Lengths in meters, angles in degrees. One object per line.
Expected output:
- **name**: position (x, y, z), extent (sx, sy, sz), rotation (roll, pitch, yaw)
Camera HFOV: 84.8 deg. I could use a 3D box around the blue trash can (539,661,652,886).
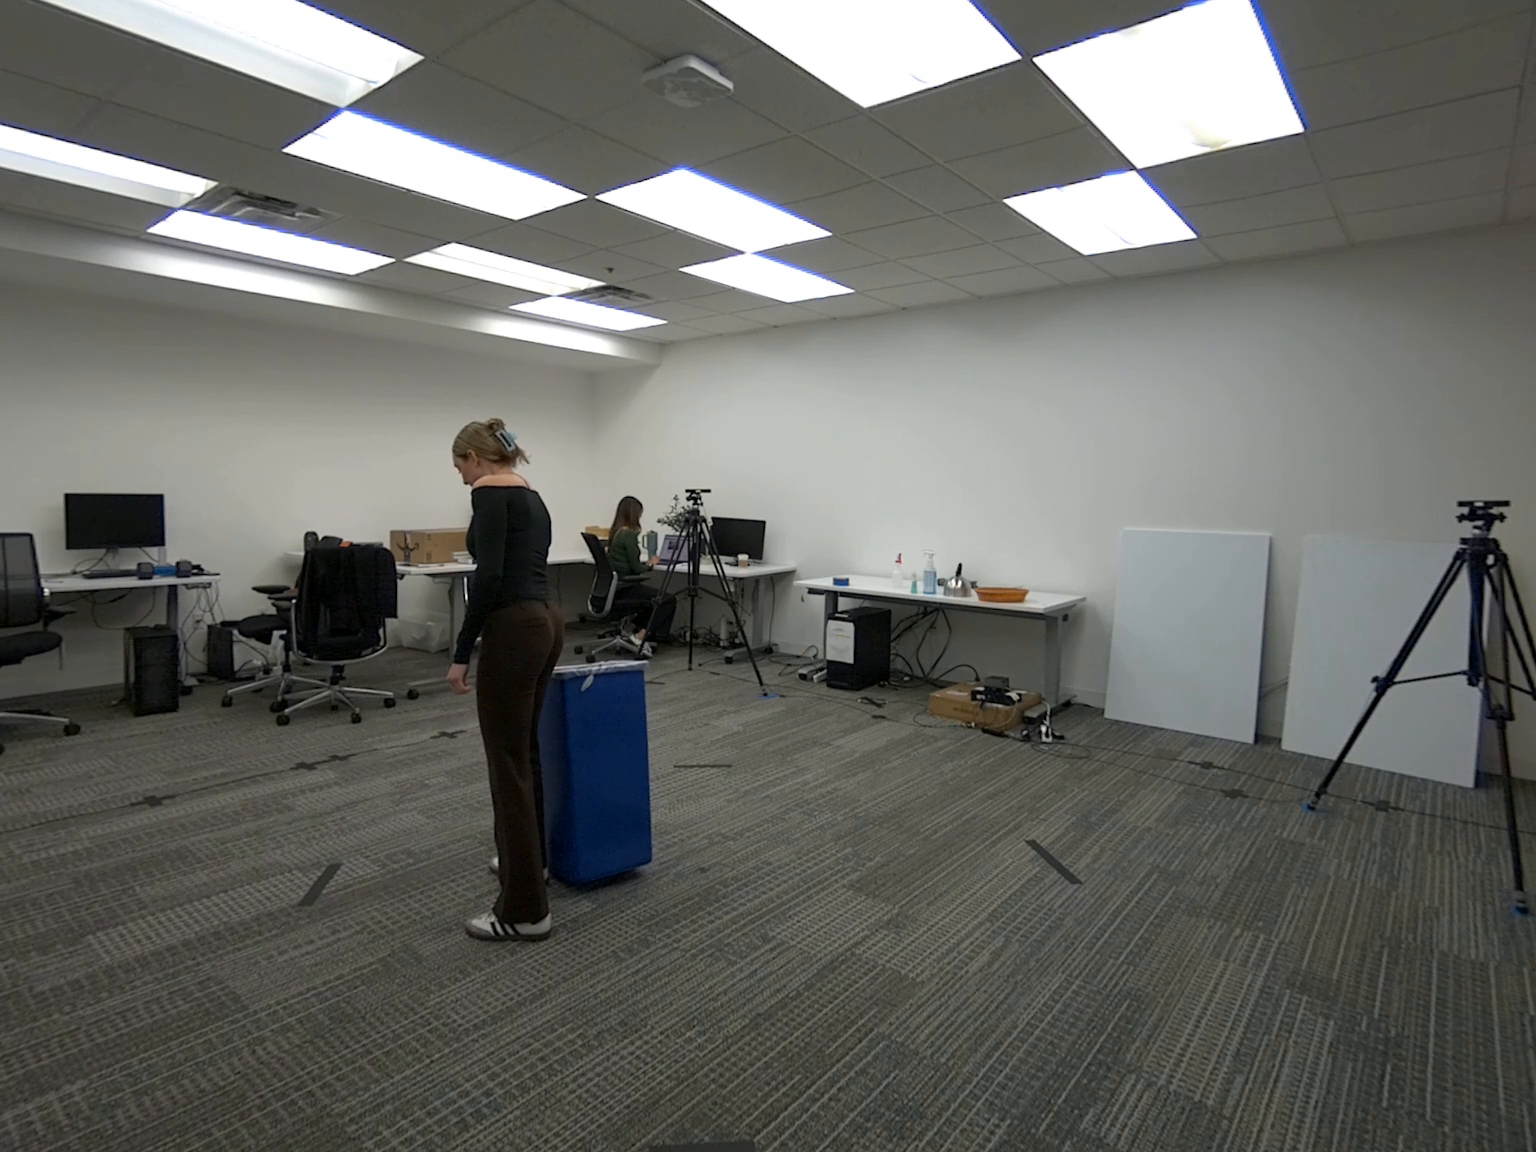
- **blue trash can**: position (-0.673, 0.686, 3.121), extent (0.367, 0.718, 0.383), rotation (-1, -6, -38)
